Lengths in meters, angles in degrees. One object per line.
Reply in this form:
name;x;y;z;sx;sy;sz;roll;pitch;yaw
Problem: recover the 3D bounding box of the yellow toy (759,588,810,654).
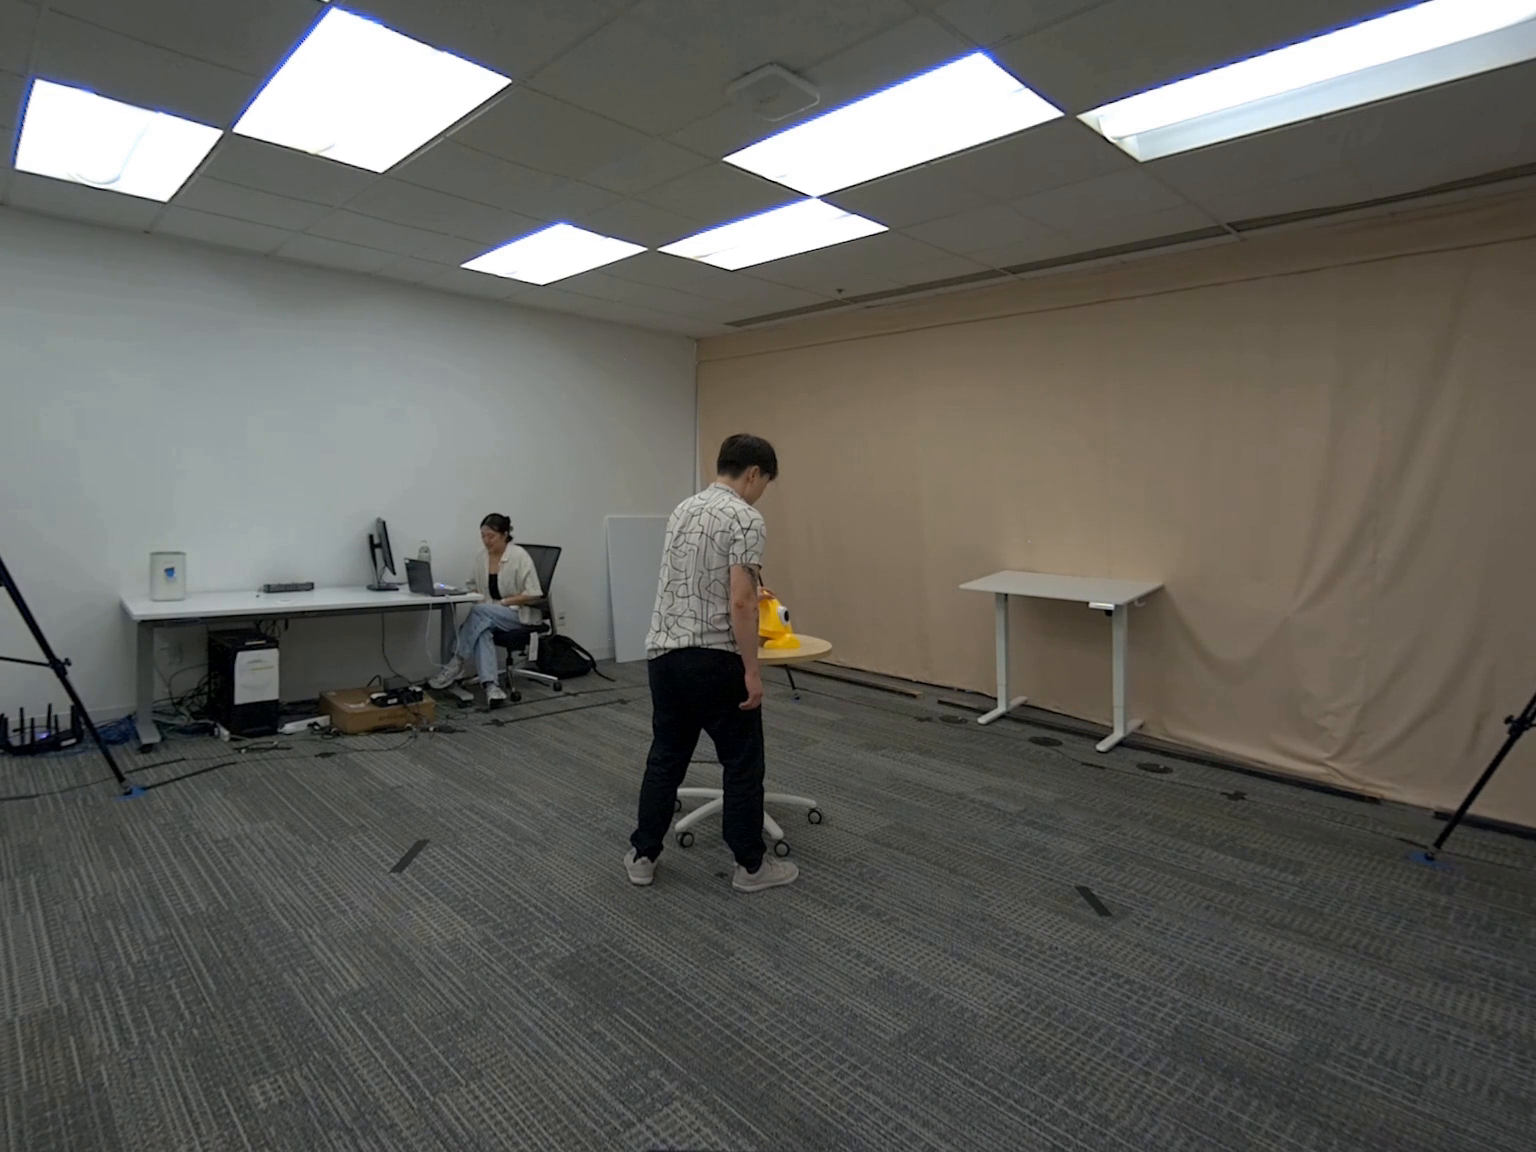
yellow toy;0.027;0.178;3.495;0.189;0.230;0.210;-1;4;-35
